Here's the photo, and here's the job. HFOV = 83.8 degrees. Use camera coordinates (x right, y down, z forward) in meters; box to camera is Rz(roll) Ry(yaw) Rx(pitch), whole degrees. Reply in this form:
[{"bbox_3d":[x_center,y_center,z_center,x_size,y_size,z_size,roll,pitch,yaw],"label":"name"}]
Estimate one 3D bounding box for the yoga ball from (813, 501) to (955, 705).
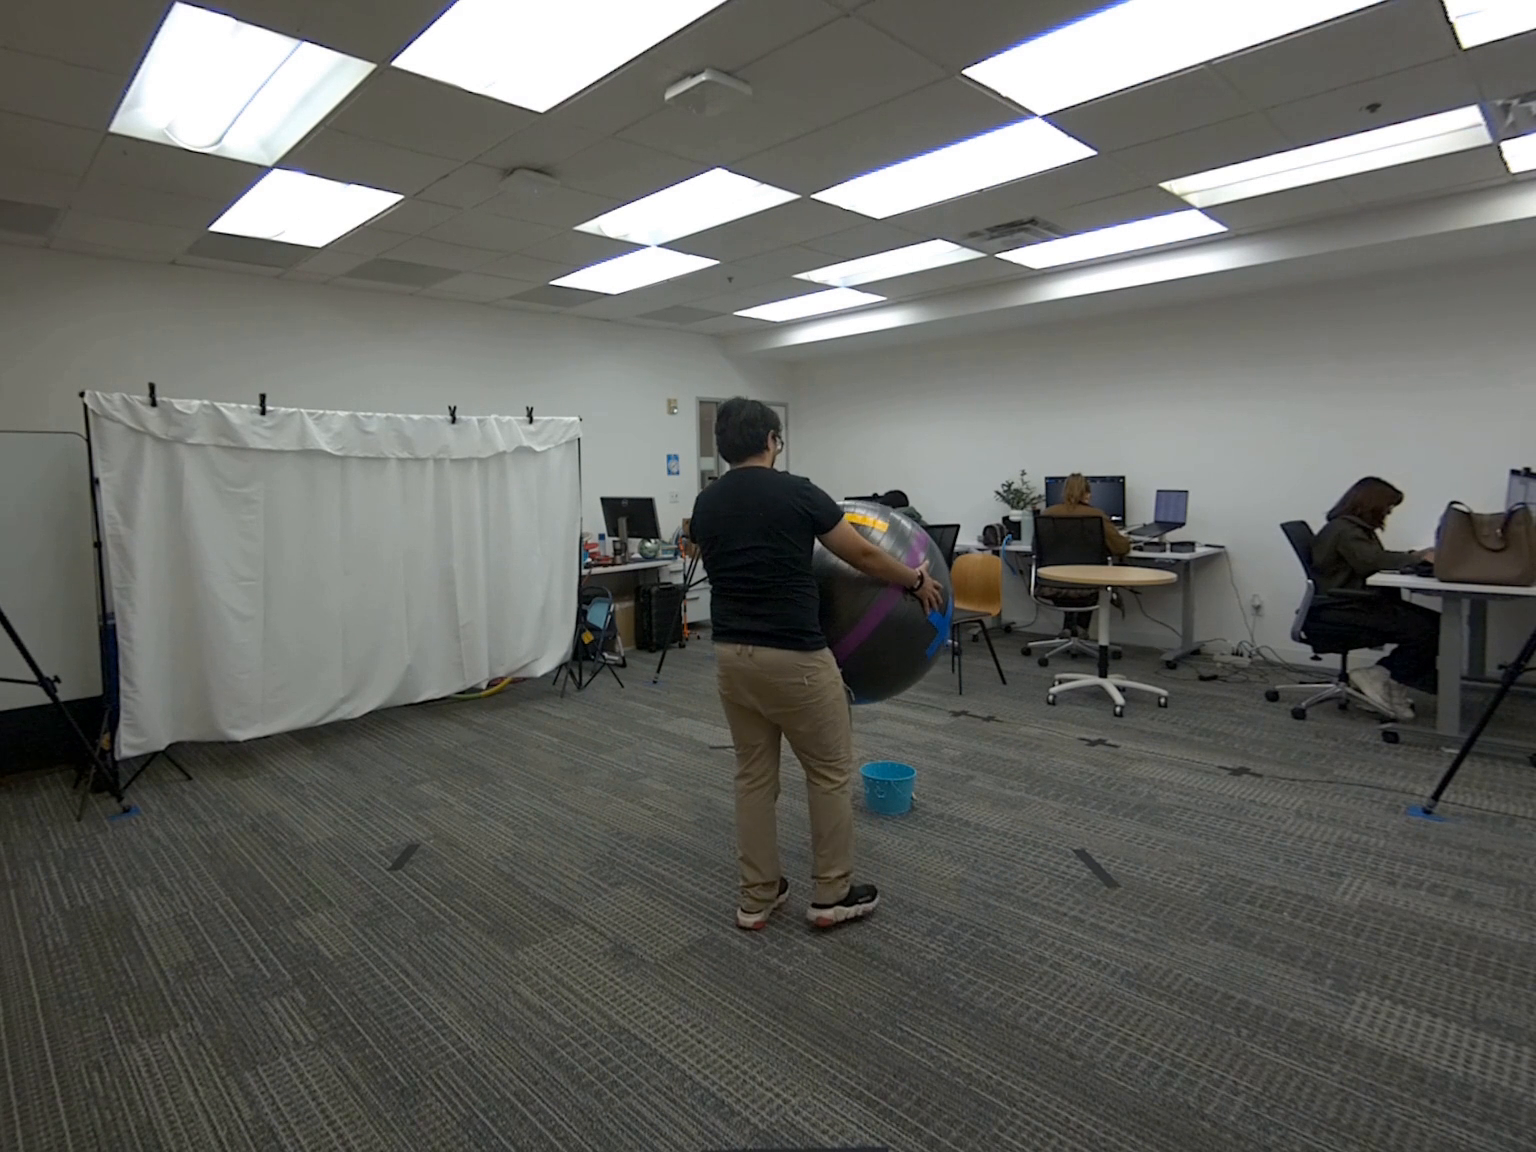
[{"bbox_3d":[0.310,0.103,3.187,0.757,0.755,0.762,-1,5,-2],"label":"yoga ball"}]
